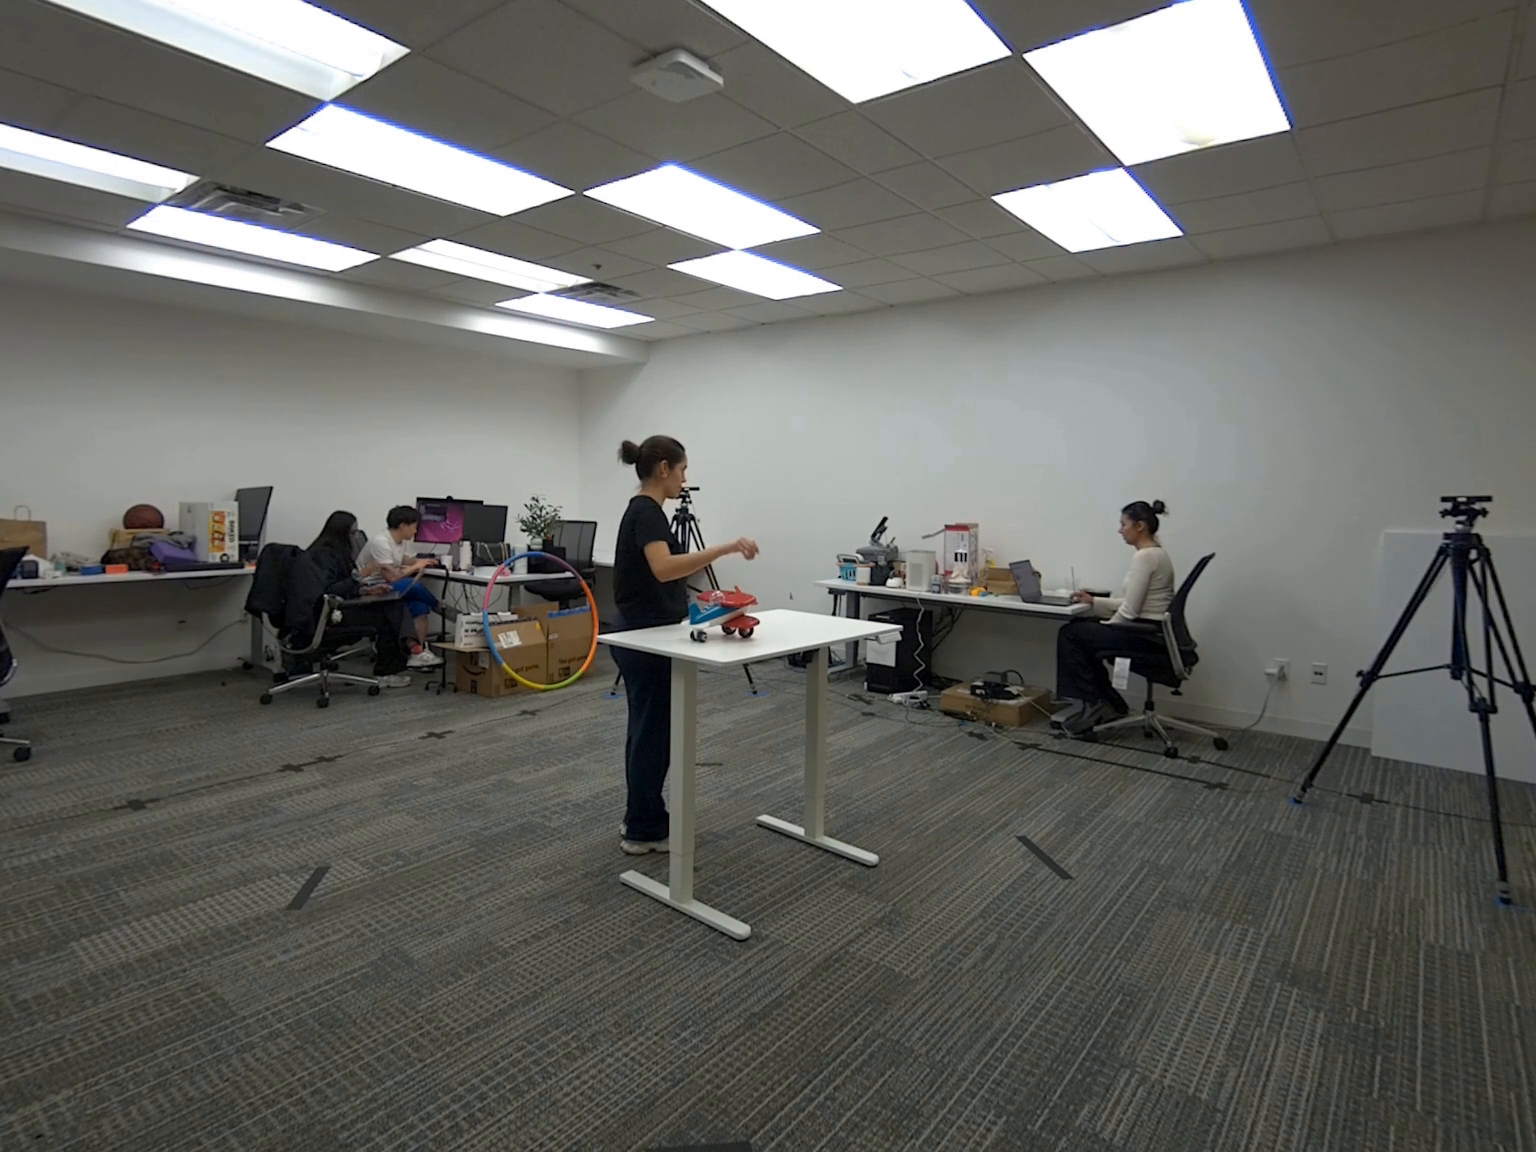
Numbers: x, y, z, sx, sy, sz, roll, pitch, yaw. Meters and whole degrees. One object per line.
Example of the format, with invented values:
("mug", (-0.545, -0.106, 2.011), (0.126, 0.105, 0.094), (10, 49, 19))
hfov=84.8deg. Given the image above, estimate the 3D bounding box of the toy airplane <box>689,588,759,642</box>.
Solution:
("toy airplane", (-0.140, 0.132, 2.873), (0.256, 0.156, 0.254), (2, 4, 19))
